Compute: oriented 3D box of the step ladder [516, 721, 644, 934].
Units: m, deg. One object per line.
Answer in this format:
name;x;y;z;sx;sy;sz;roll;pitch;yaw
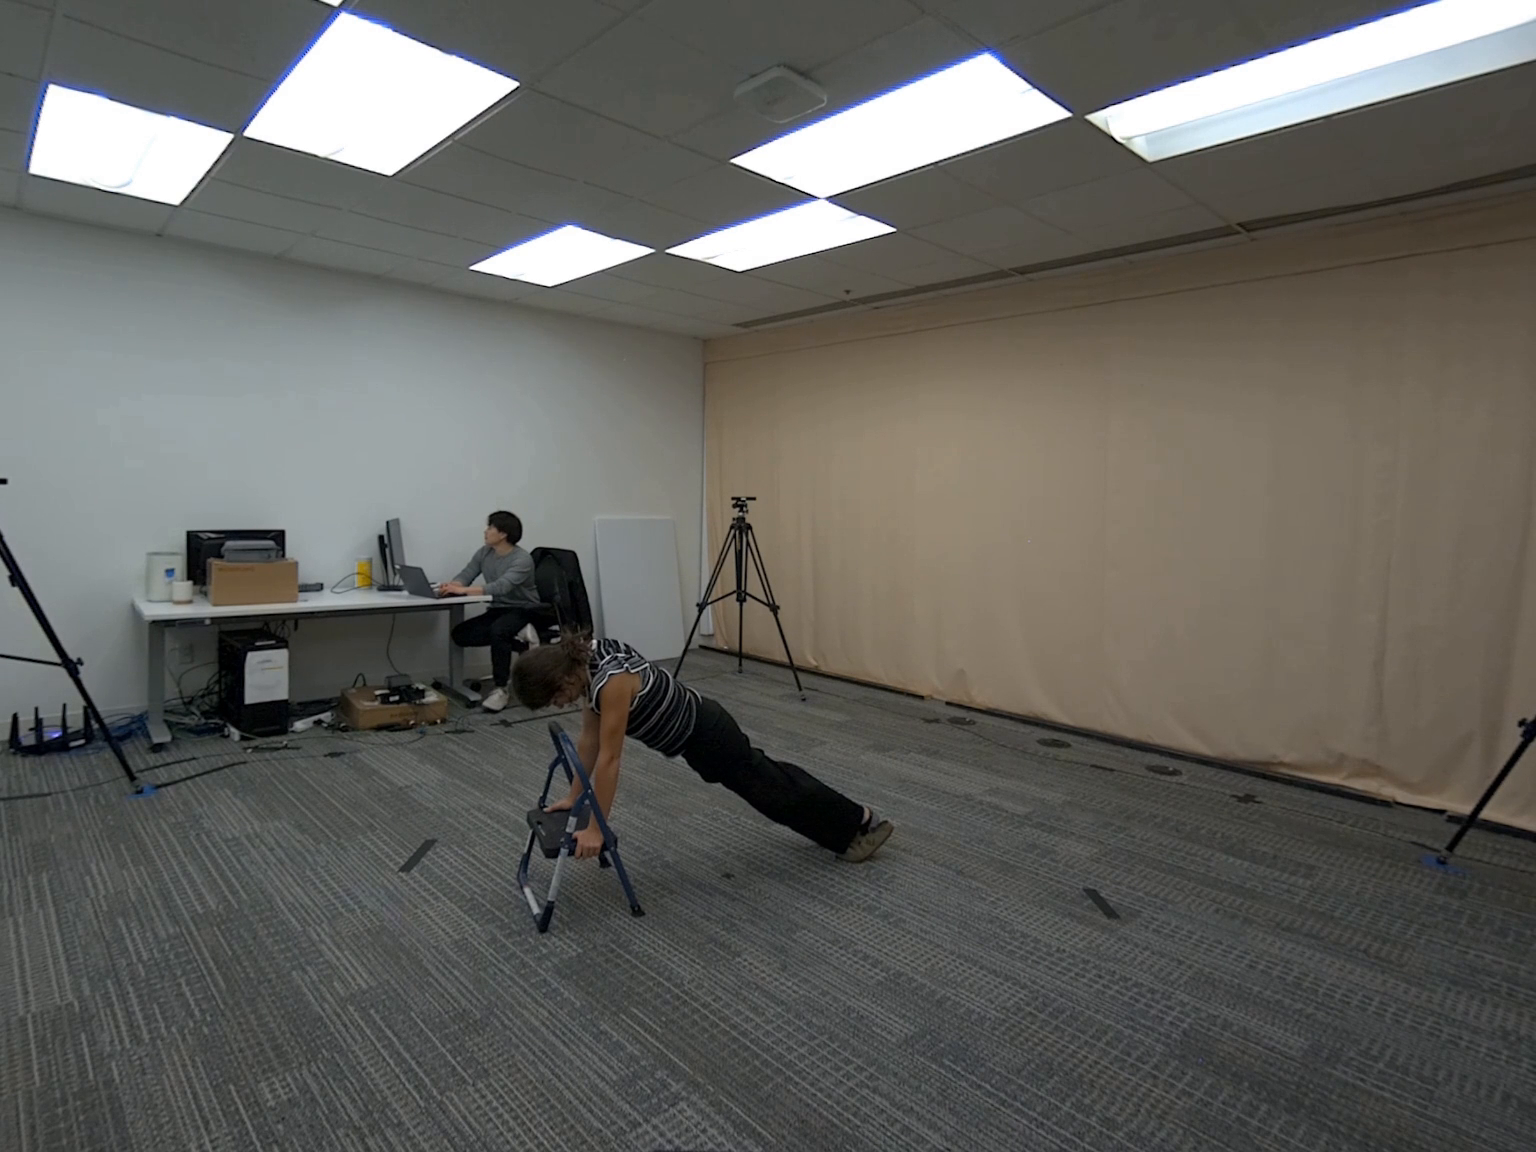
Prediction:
step ladder;-0.662;0.814;2.900;0.343;0.604;0.440;-1;4;-27
